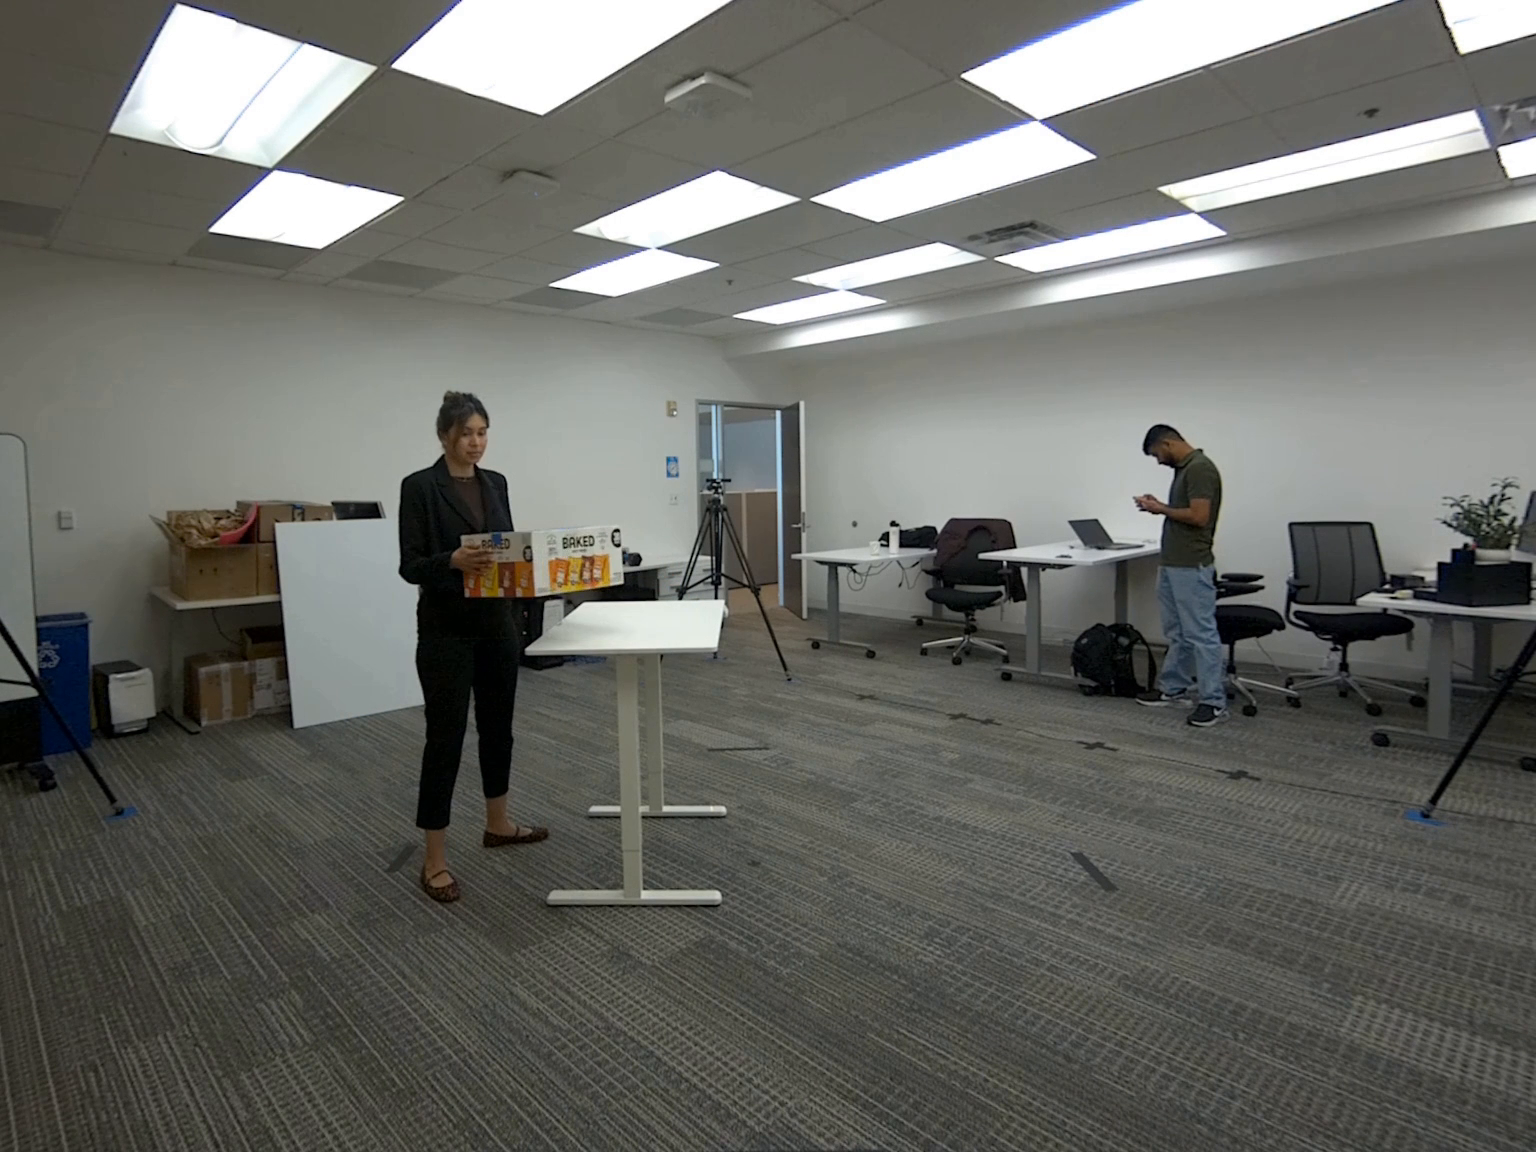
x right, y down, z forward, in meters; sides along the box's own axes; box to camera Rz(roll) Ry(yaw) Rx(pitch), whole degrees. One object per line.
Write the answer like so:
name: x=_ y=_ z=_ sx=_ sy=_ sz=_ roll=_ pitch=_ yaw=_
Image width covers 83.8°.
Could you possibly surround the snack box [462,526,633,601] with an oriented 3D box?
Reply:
snack box: x=-0.747 y=-0.052 z=2.857 sx=0.349 sy=0.205 sz=0.395 roll=-1 pitch=4 yaw=34
